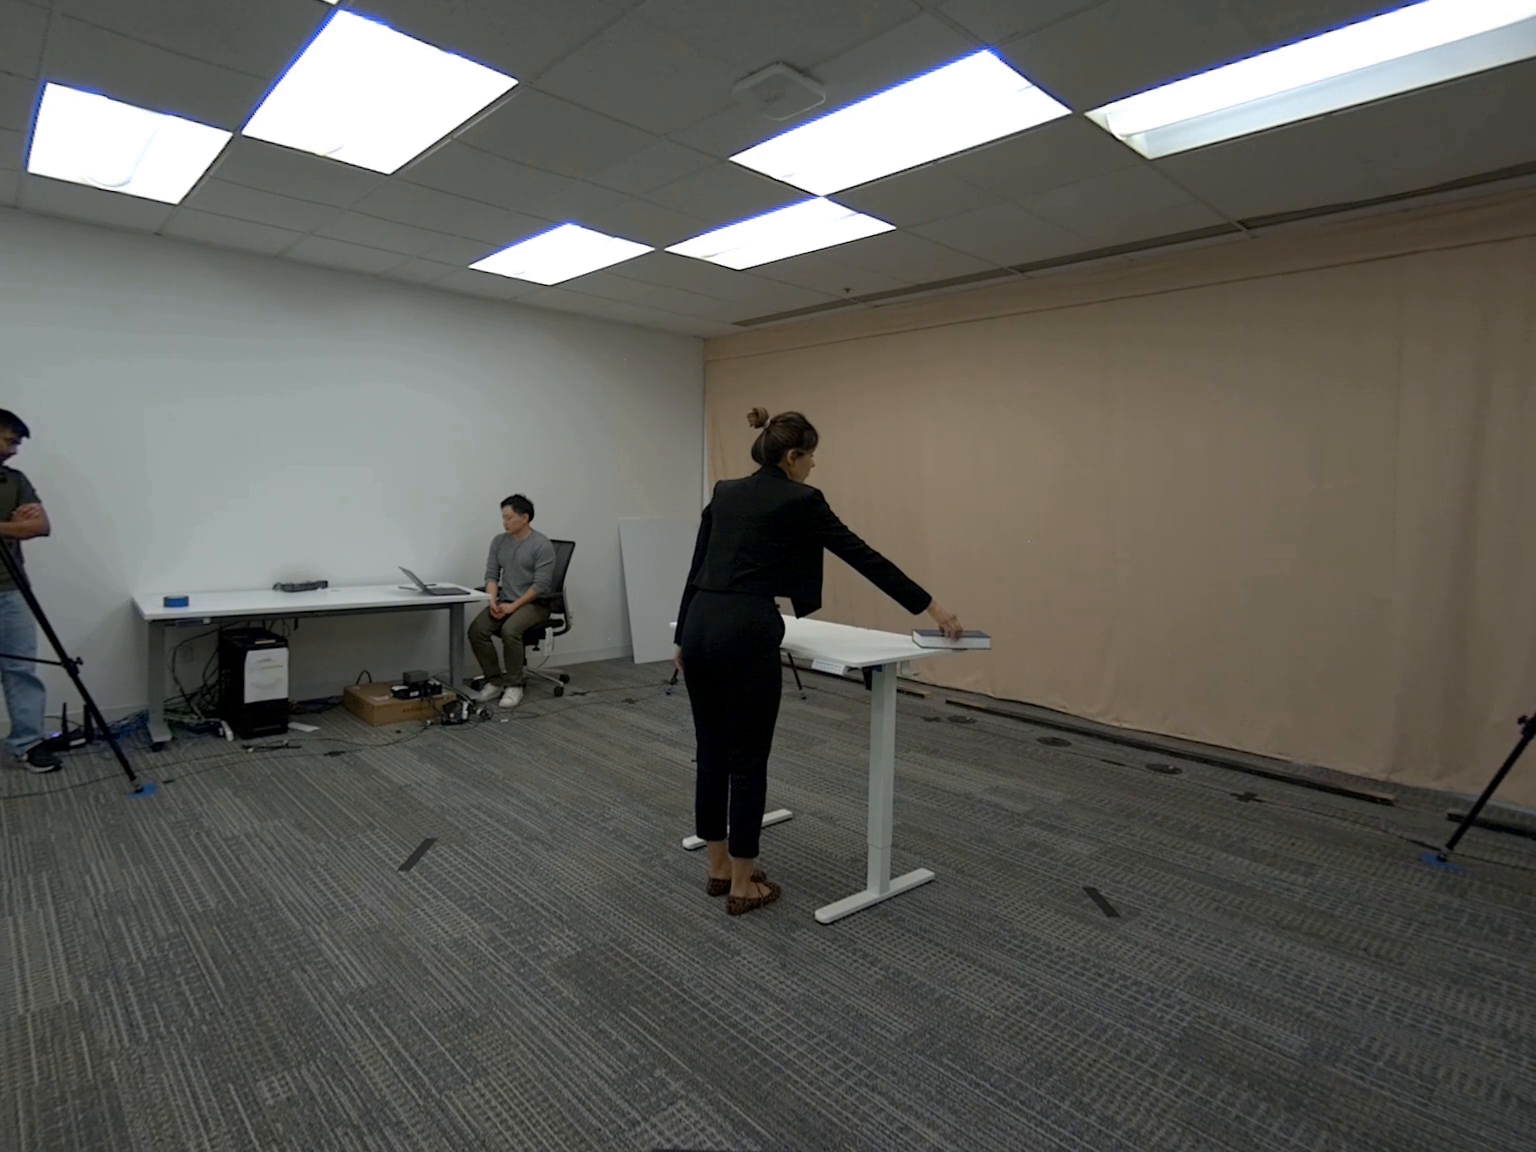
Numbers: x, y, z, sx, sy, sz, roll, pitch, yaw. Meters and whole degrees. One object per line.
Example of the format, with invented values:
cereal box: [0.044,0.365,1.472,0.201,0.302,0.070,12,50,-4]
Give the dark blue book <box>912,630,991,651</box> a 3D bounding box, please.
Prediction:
dark blue book: [0.650,0.224,2.999,0.245,0.045,0.163,1,5,1]
